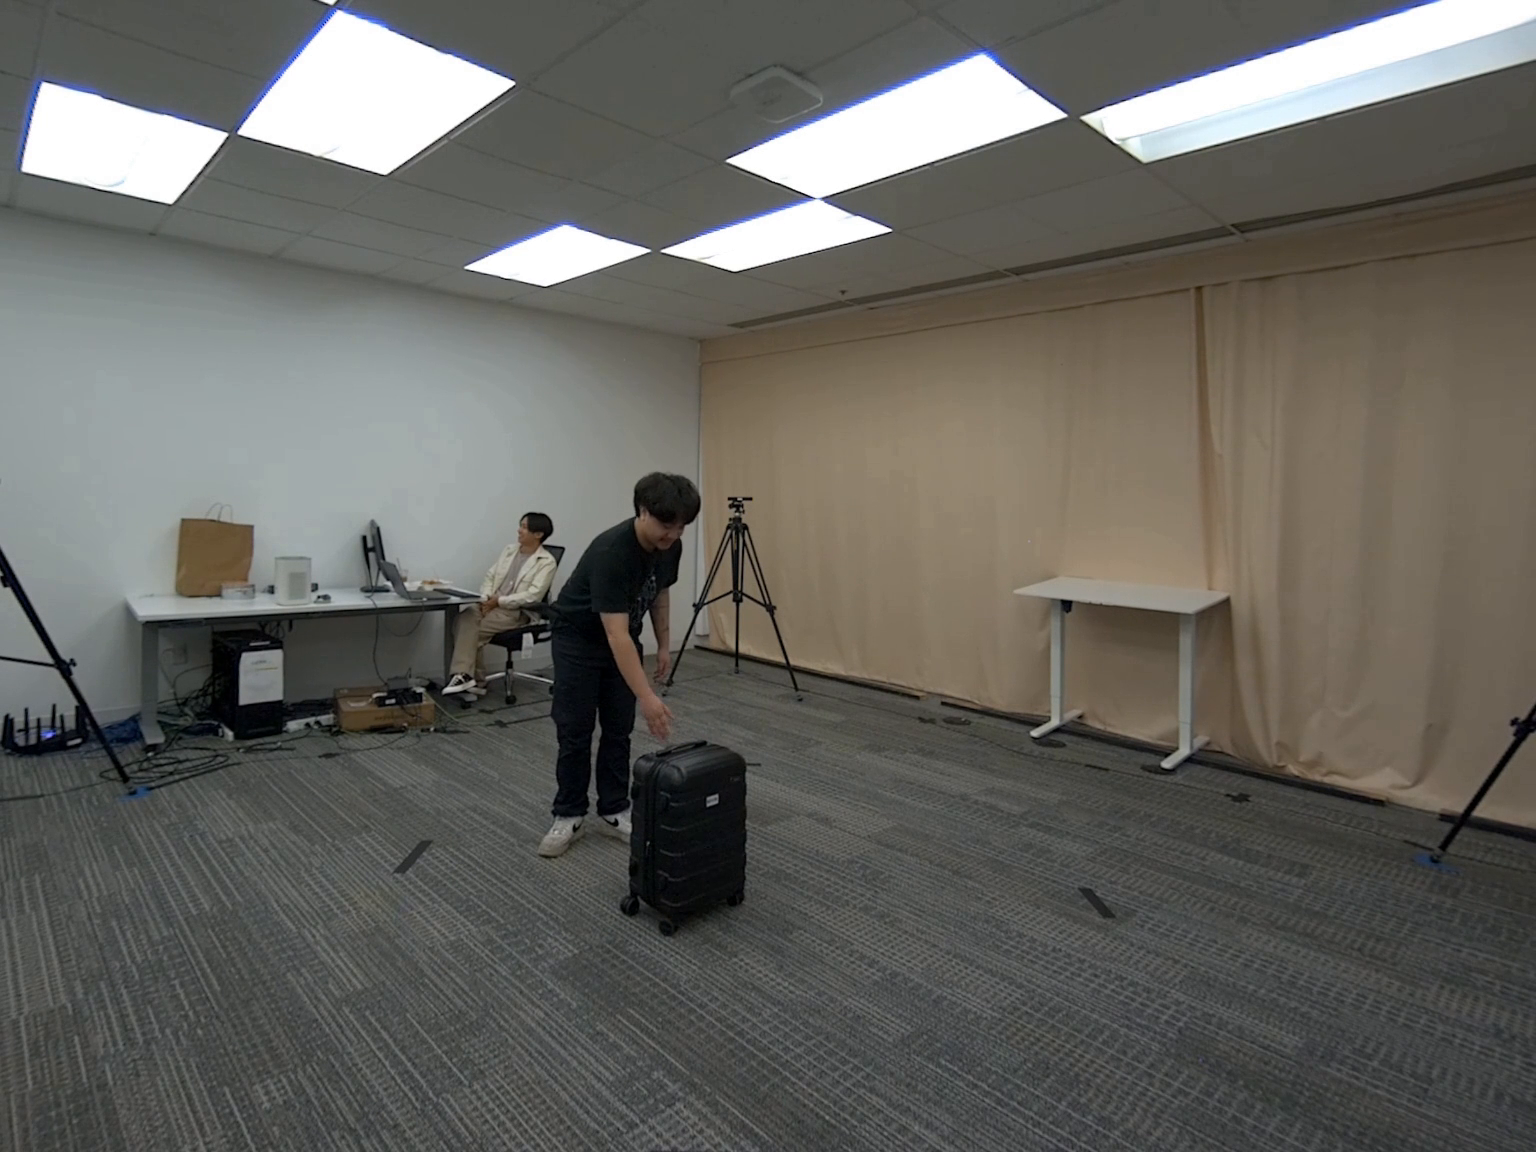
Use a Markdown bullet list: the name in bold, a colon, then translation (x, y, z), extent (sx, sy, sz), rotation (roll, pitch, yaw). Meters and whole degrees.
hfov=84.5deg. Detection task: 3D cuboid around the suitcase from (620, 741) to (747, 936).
- **suitcase**: translation (-0.273, 0.855, 2.839), extent (0.255, 0.548, 0.366), rotation (6, 5, 45)
